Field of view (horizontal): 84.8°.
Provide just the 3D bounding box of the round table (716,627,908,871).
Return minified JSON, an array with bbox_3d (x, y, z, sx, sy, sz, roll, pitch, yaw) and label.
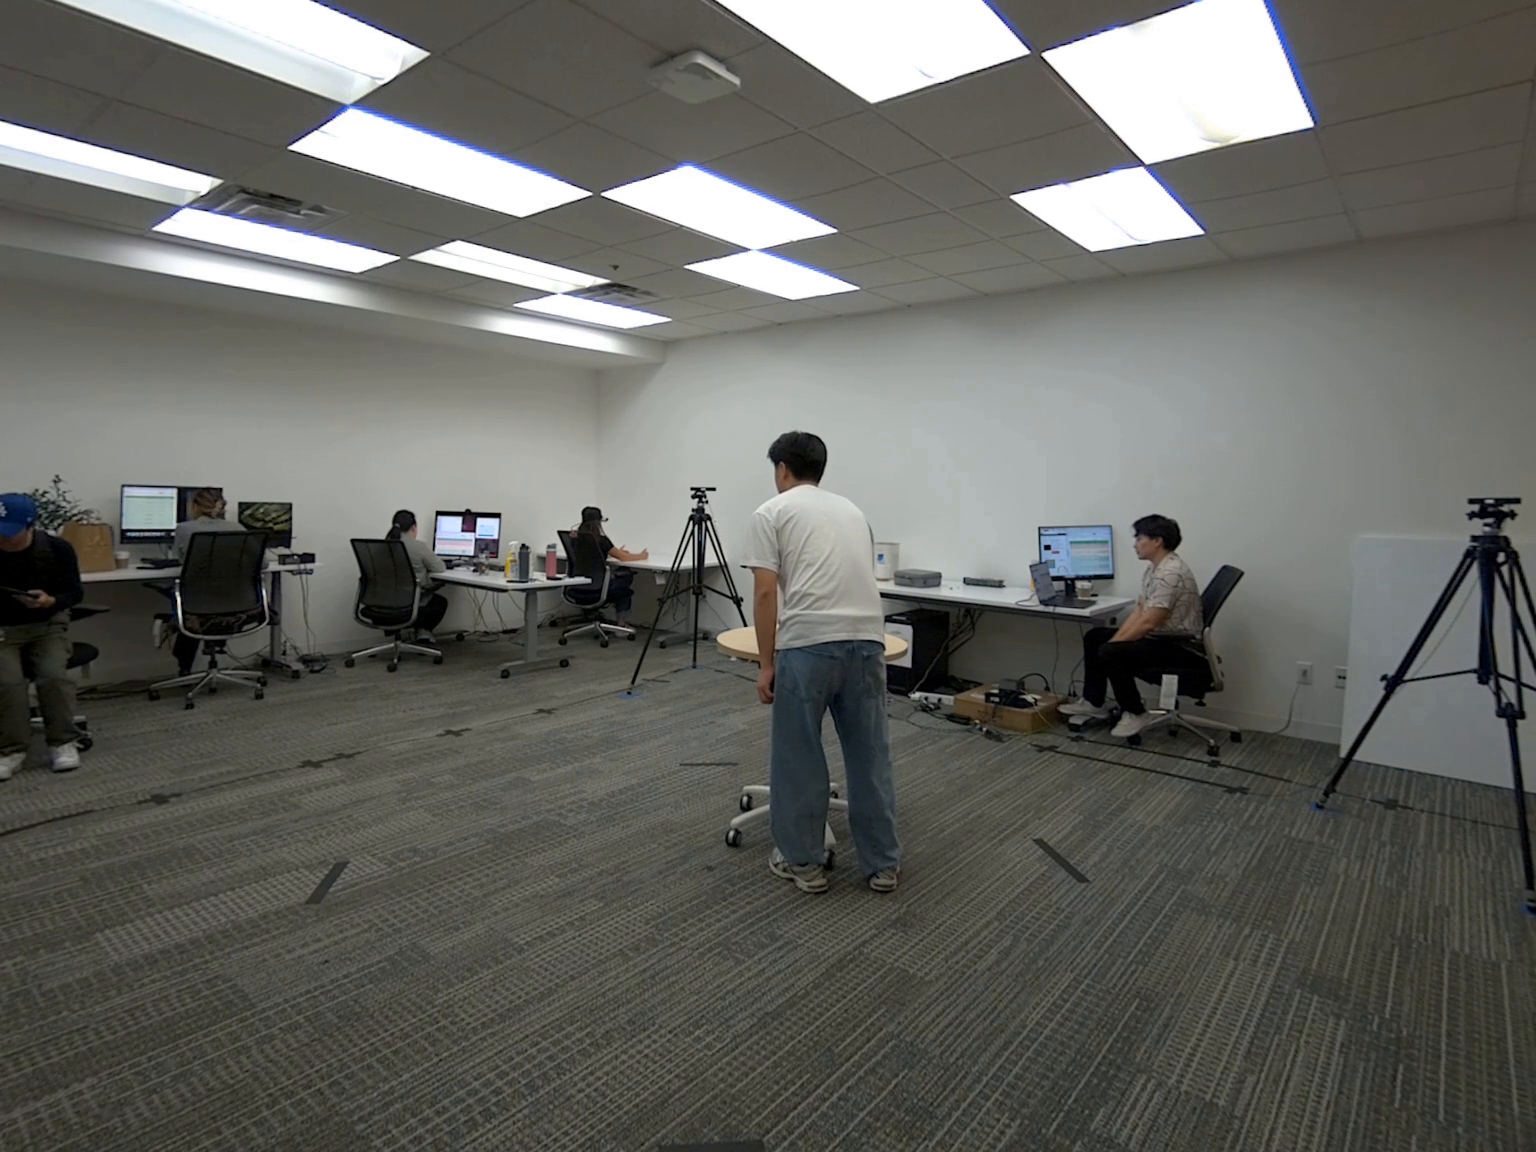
[{"bbox_3d":[0.148,0.645,3.466,0.763,0.791,0.768,1,4,-2],"label":"round table"}]
